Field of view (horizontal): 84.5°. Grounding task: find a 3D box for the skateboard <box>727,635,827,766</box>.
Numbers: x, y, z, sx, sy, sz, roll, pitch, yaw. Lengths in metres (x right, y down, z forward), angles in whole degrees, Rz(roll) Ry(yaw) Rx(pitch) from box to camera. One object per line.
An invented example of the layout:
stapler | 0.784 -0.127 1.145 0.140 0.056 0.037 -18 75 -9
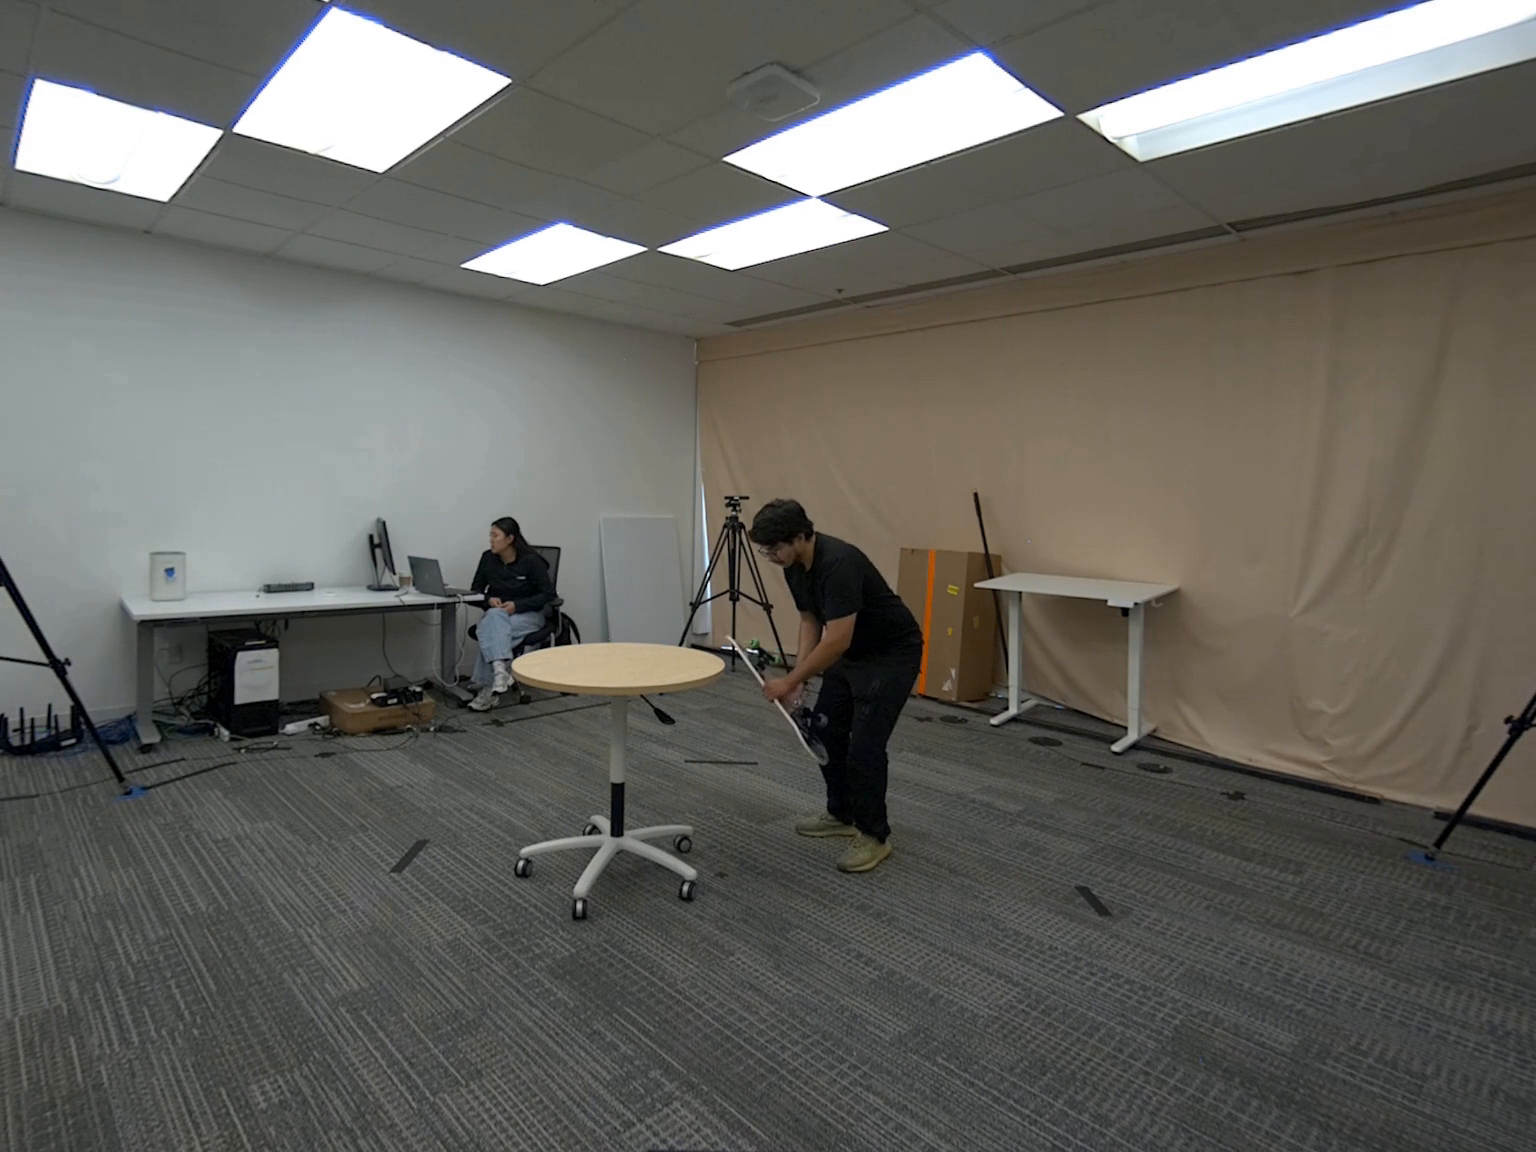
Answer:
skateboard | 0.045 0.438 3.305 0.187 0.110 0.810 42 4 -39
